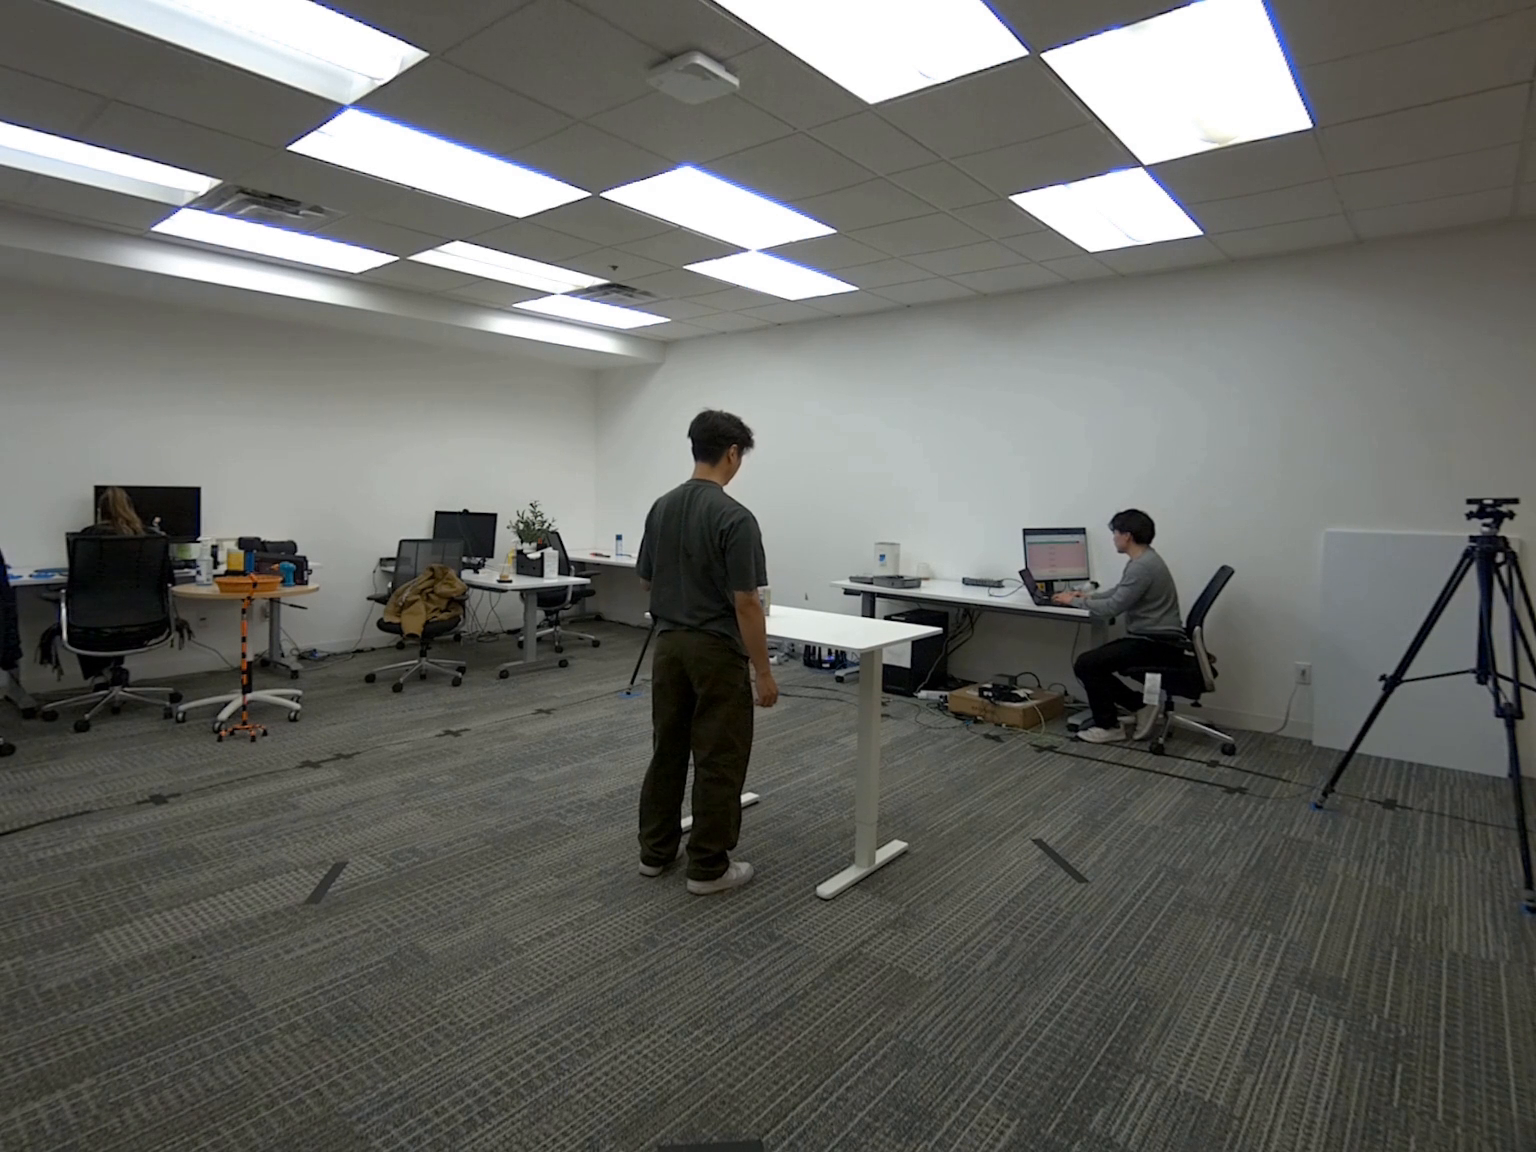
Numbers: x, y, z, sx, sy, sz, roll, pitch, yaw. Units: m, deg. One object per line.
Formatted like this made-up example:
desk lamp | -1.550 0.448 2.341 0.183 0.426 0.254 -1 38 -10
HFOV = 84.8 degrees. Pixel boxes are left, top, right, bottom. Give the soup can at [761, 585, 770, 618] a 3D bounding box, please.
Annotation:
soup can | -0.035 0.099 3.429 0.067 0.121 0.067 3 6 -2
